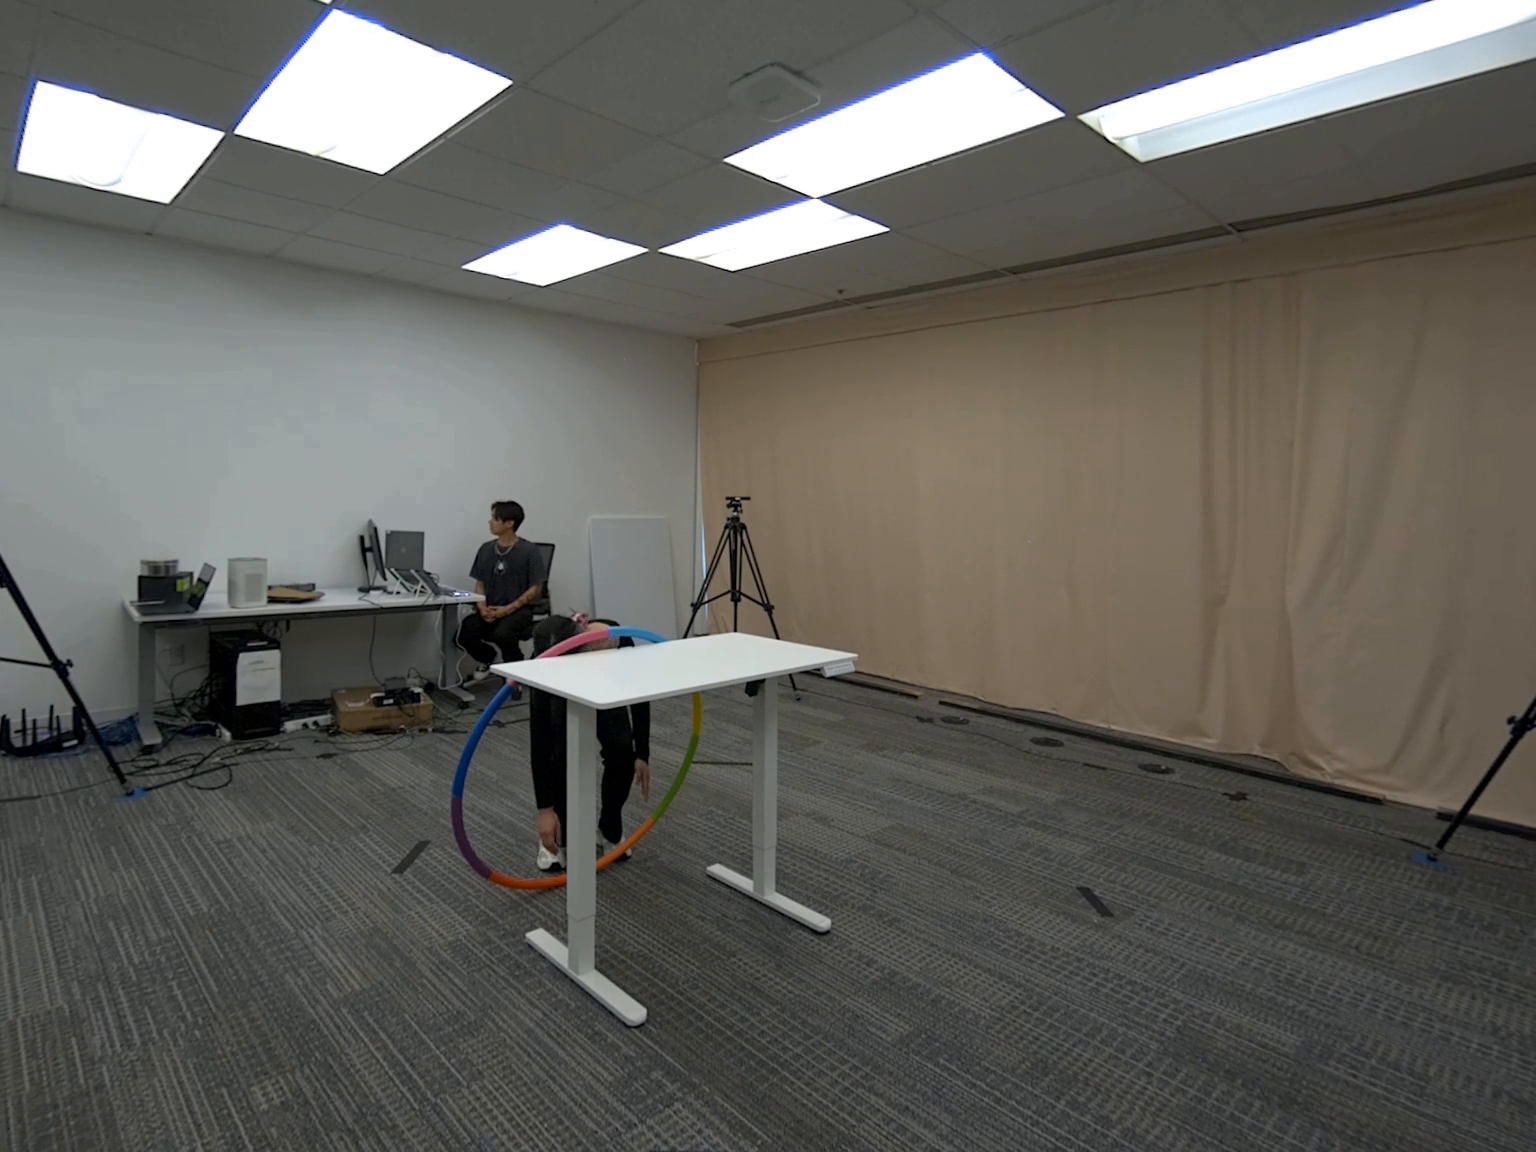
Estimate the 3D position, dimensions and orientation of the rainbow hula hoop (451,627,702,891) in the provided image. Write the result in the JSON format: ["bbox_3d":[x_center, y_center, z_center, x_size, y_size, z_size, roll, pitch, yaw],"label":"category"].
[{"bbox_3d":[-0.626,0.640,2.914,0.956,0.971,0.036,-3,20,-44],"label":"rainbow hula hoop"}]
